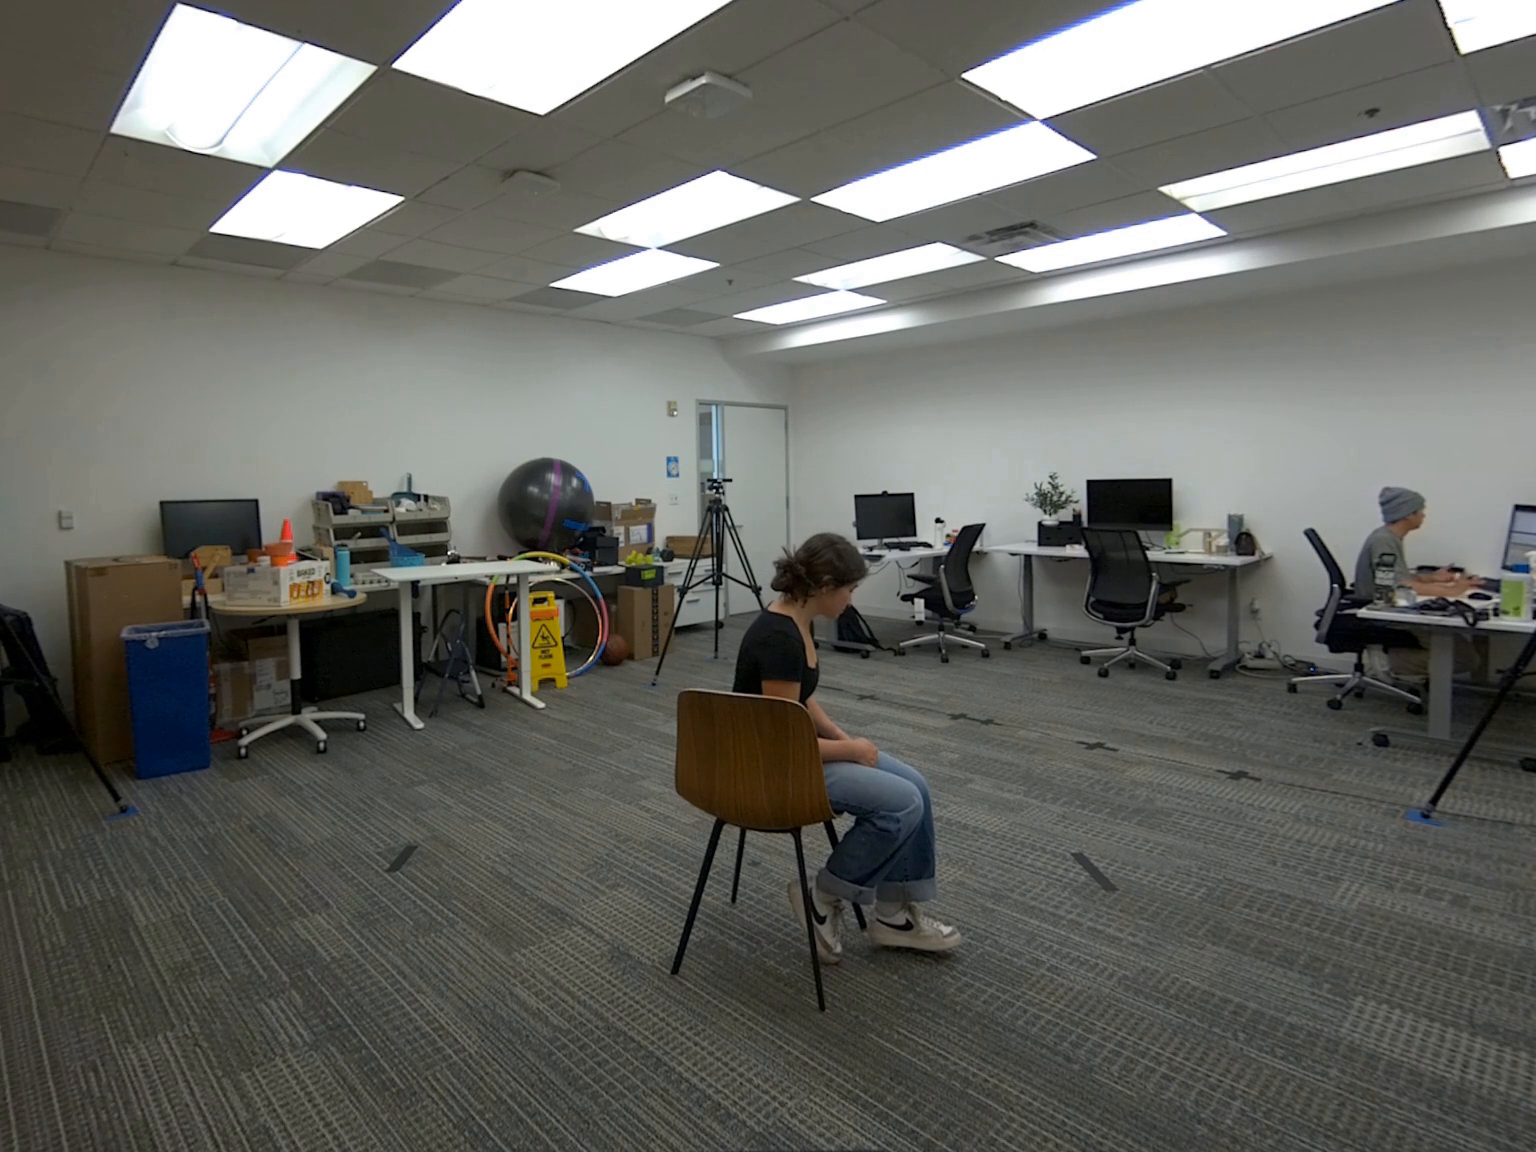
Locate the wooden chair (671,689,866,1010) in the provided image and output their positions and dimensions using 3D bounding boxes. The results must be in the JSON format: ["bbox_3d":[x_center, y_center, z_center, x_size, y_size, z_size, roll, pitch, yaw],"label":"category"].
[{"bbox_3d":[0.009,0.693,2.510,0.488,0.870,0.516,3,9,22],"label":"wooden chair"}]
